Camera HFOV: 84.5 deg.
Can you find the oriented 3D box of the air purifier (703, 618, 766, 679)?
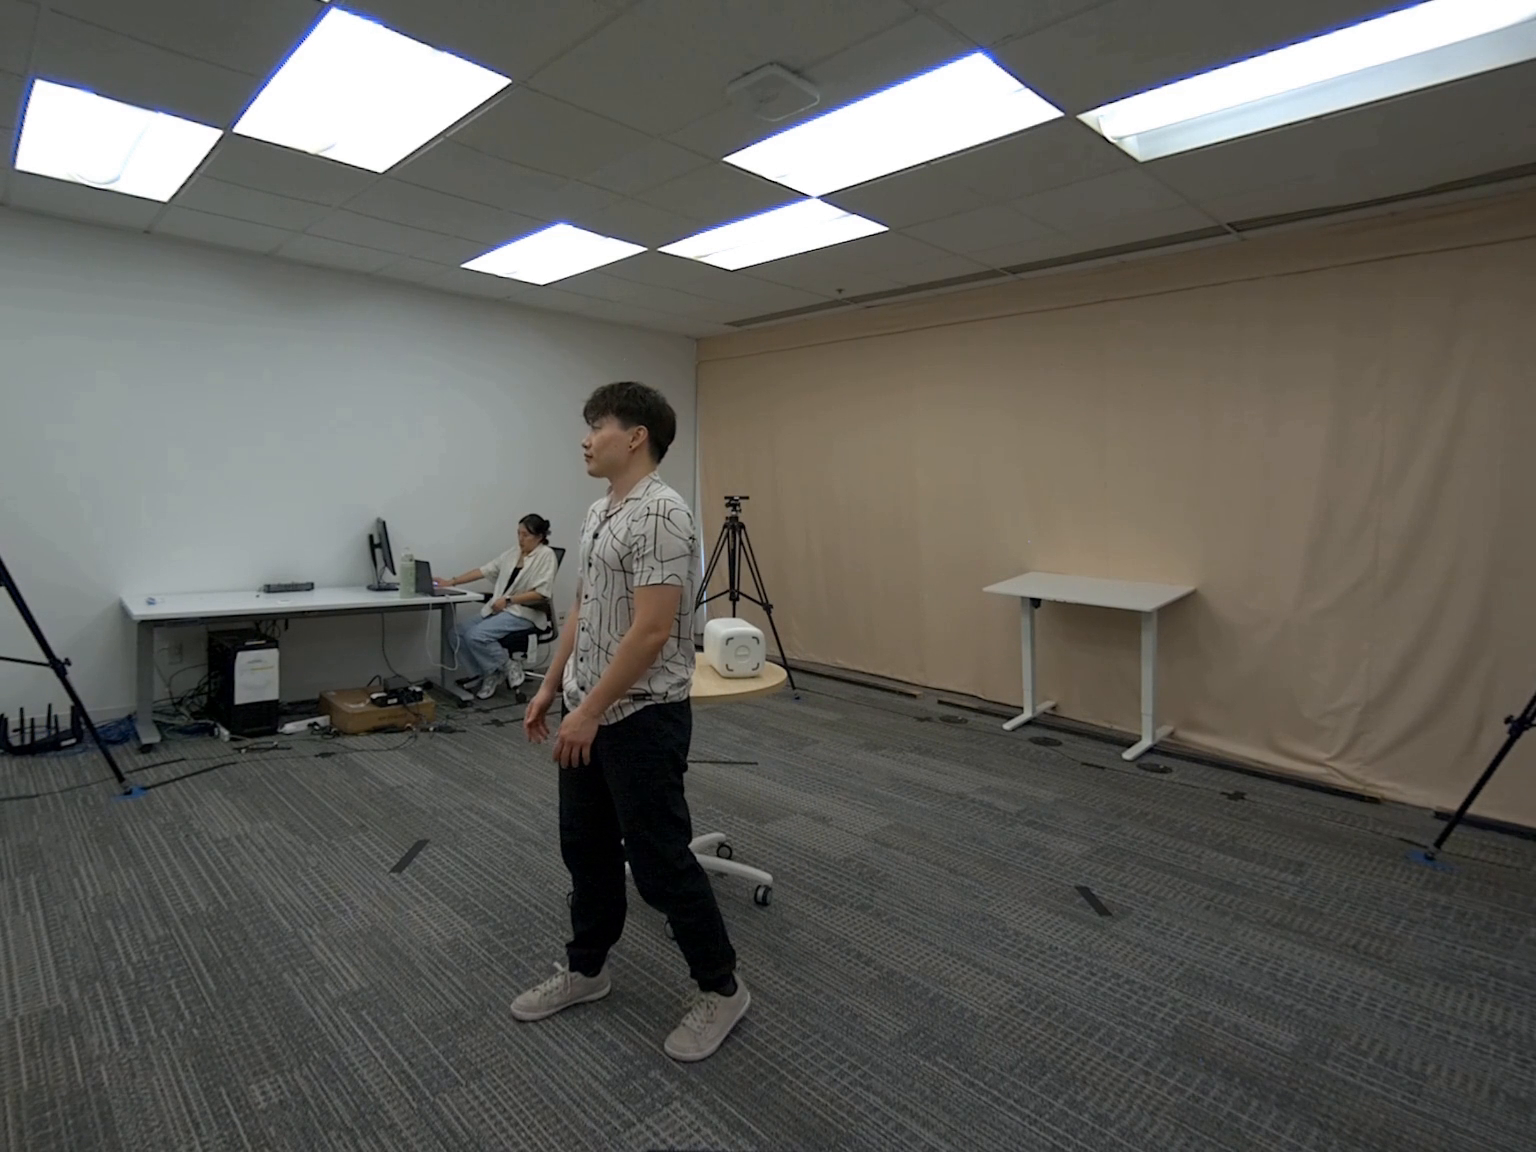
[{"bbox_3d":[-0.122,0.247,2.936,0.170,0.170,0.269,0,4,-14],"label":"air purifier"}]
